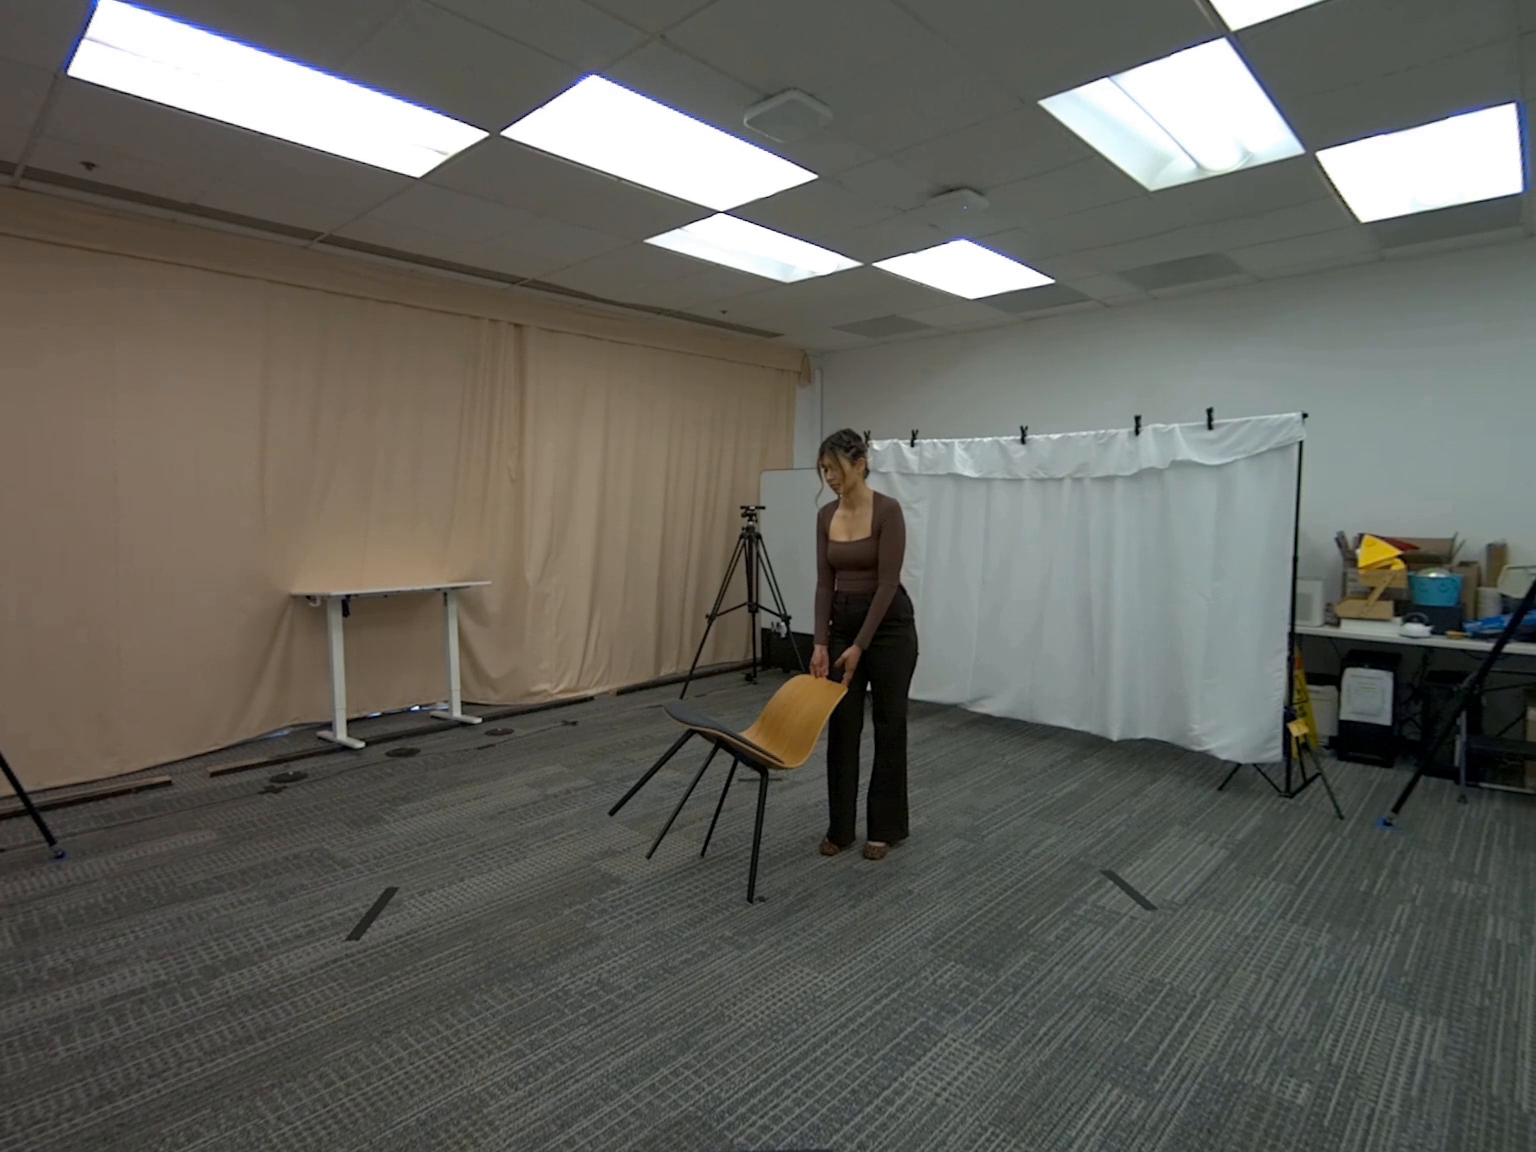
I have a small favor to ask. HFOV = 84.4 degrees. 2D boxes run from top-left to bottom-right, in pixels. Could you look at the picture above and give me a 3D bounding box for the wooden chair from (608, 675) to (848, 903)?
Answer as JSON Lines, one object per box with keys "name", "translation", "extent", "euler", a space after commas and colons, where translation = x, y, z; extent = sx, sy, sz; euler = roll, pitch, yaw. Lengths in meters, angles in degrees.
{"name": "wooden chair", "translation": [-0.140, 0.646, 3.121], "extent": [0.510, 0.877, 0.491], "euler": [36, -12, -23]}
